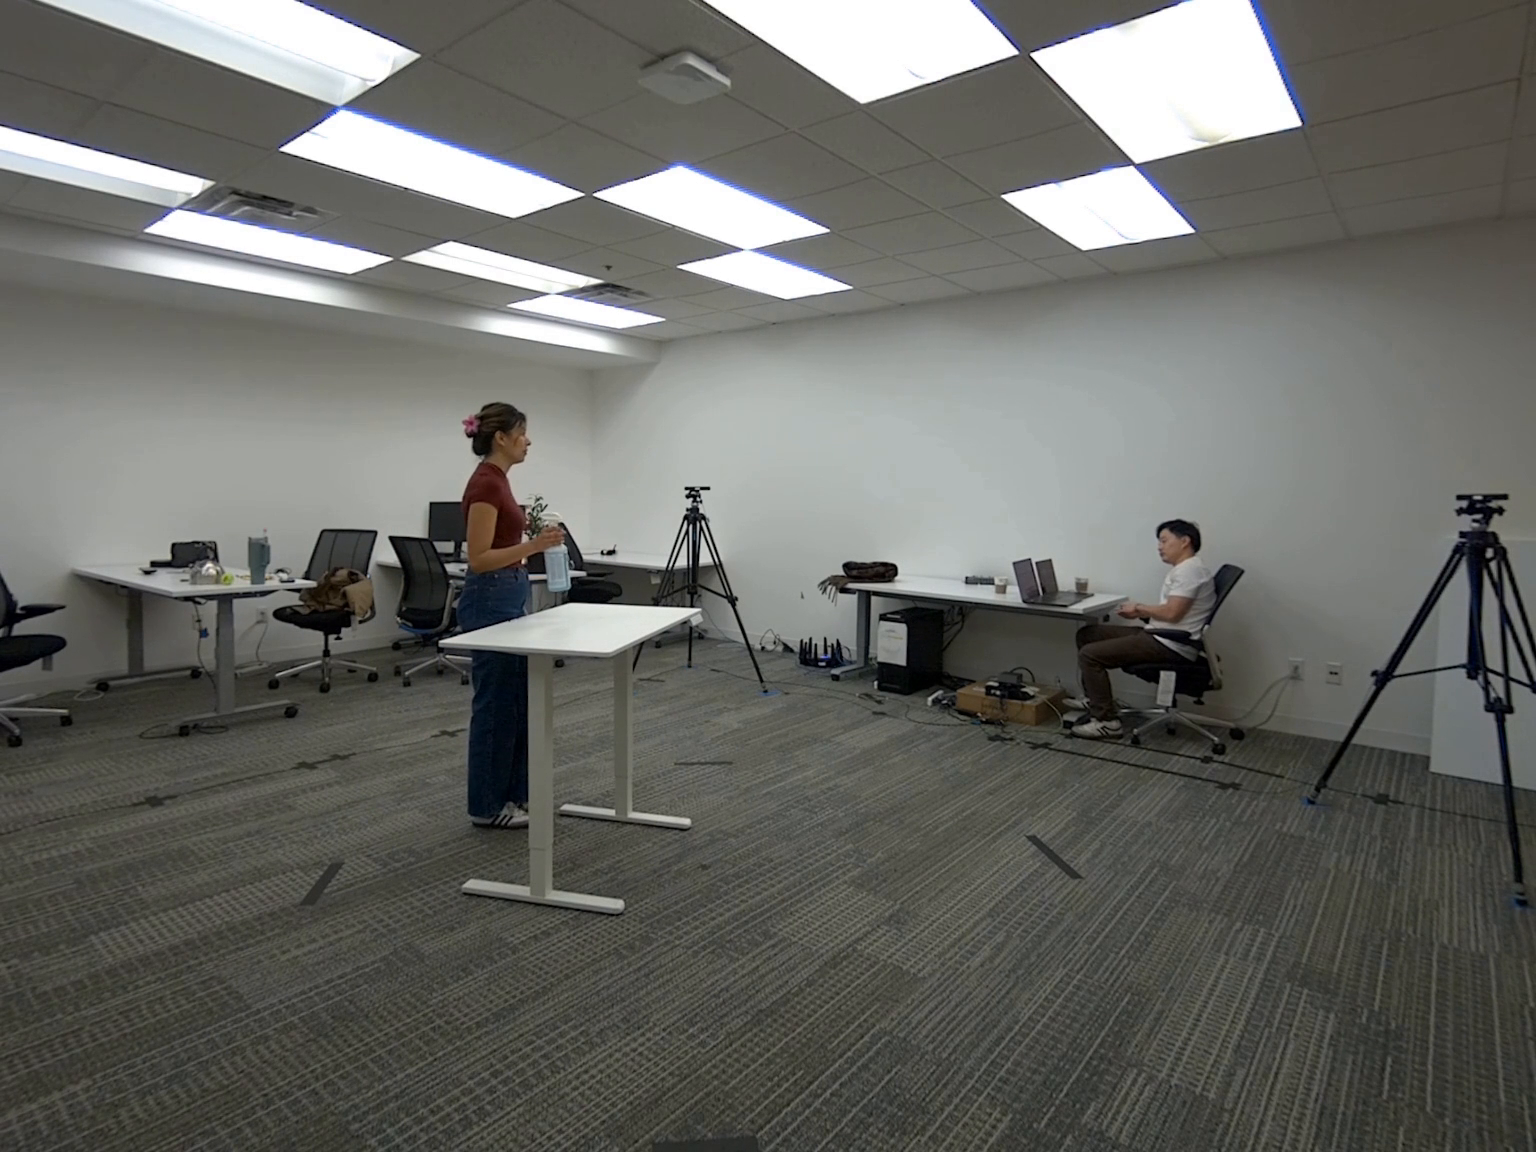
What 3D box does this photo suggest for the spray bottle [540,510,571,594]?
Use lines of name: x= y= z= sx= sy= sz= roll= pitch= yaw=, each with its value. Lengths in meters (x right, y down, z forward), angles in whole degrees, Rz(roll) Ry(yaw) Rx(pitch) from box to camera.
spray bottle: x=-0.822 y=-0.093 z=3.214 sx=0.092 sy=0.296 sz=0.085 roll=-2 pitch=6 yaw=29
